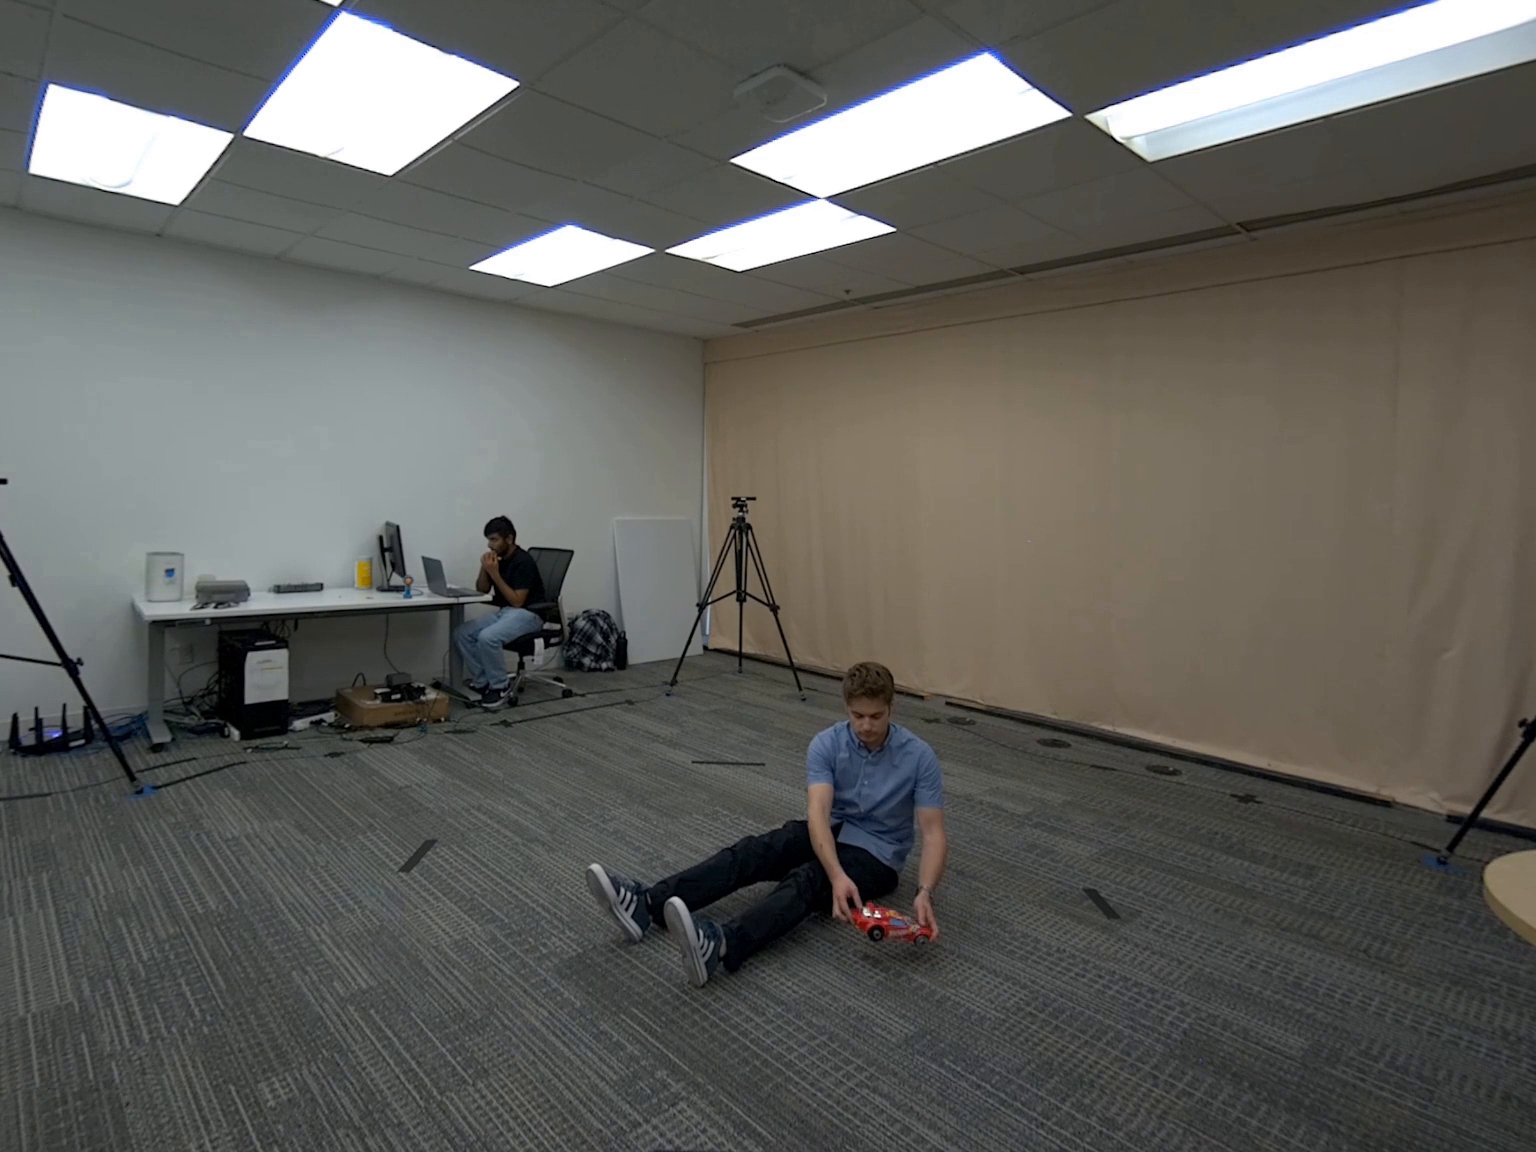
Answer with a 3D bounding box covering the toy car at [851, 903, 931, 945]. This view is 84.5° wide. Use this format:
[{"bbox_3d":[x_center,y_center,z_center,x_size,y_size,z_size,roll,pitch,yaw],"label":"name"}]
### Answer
[{"bbox_3d":[0.348,1.066,2.550,0.252,0.083,0.131,23,-1,-8],"label":"toy car"}]
